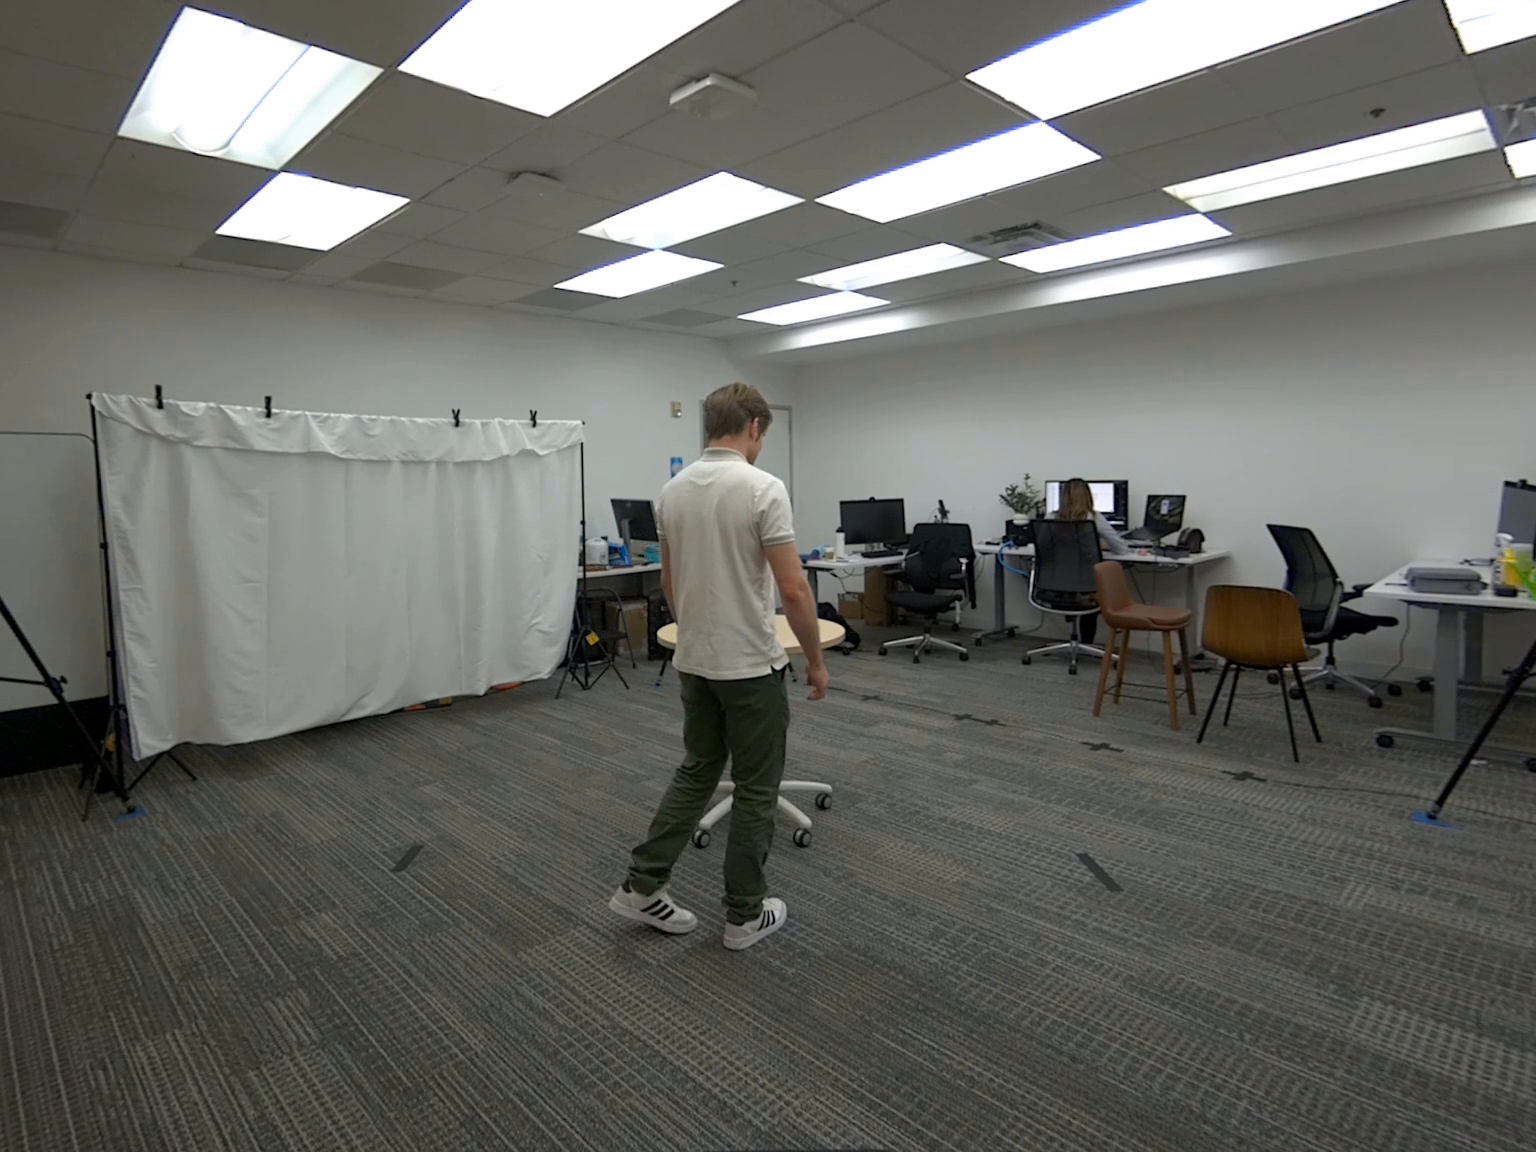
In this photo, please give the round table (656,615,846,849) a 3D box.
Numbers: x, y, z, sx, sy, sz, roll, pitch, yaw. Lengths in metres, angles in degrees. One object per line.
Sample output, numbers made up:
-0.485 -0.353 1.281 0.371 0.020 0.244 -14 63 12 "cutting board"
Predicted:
-0.058 0.614 3.515 0.763 0.791 0.768 -1 5 -2 "round table"
